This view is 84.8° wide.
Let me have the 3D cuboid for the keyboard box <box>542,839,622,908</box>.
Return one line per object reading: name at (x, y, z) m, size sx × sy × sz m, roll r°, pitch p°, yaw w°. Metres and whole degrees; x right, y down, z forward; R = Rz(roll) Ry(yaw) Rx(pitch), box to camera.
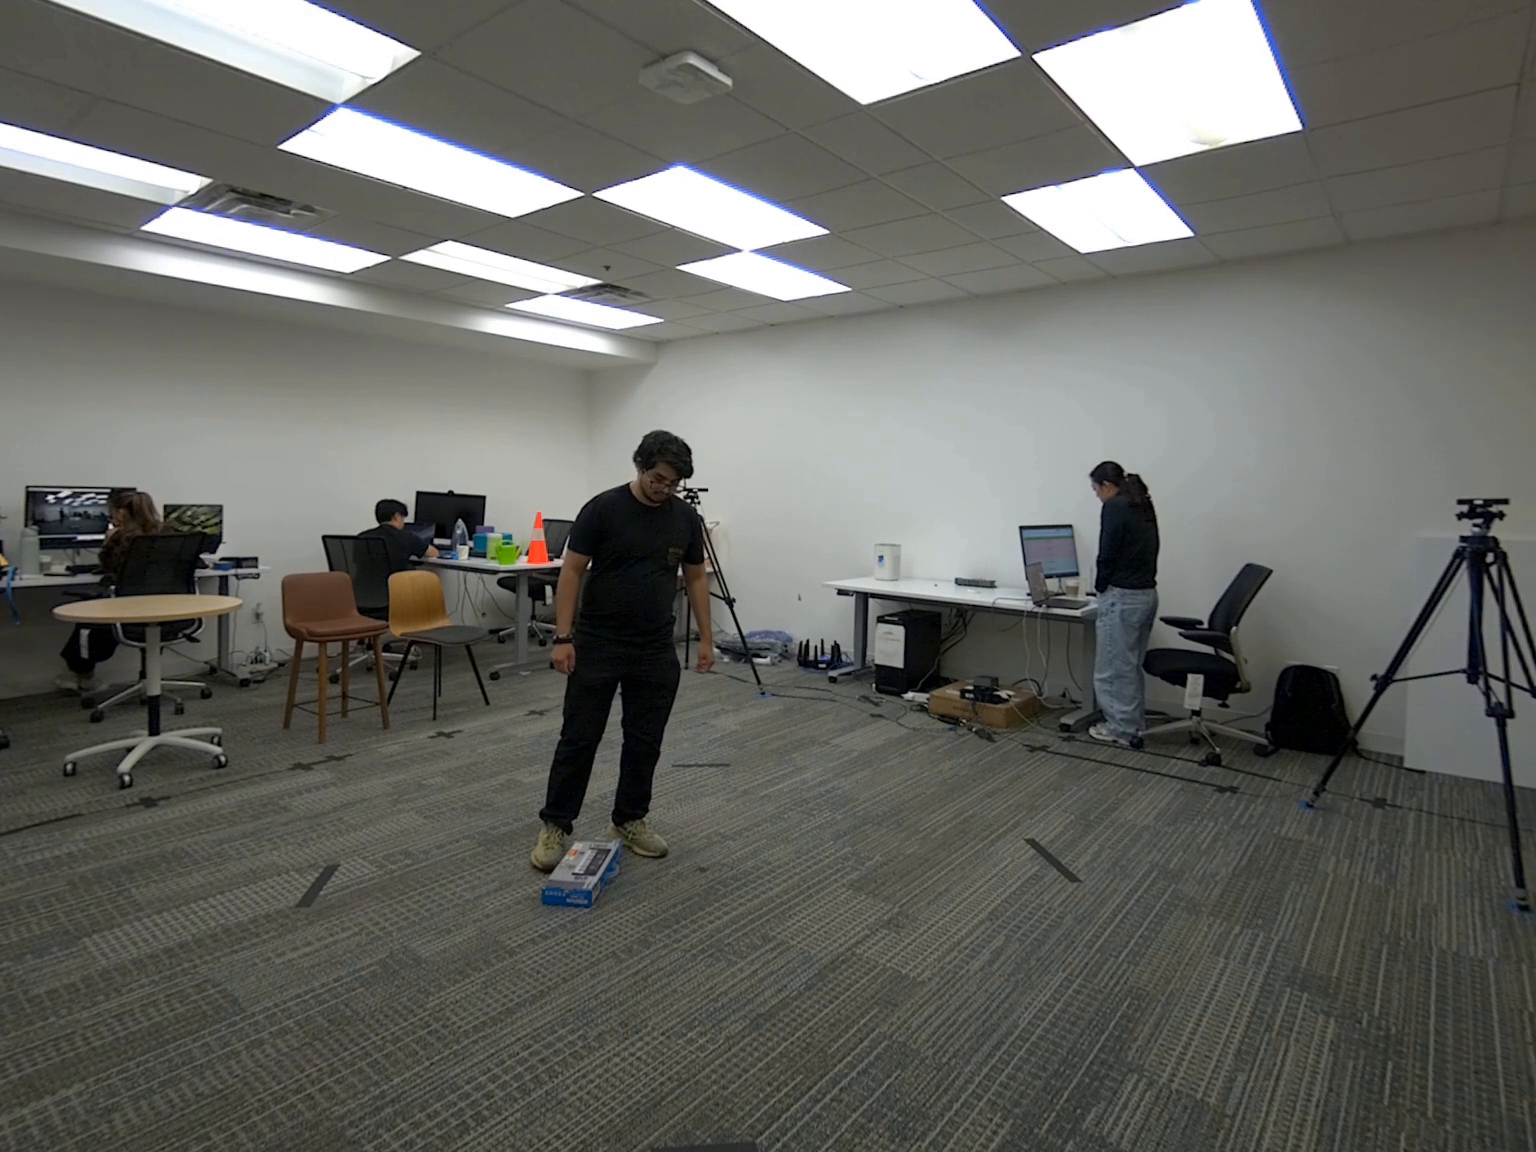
keyboard box at (-0.661, 1.043, 3.021) m, size 0.177 × 0.059 × 0.435 m, roll 1°, pitch 5°, yaw 5°
